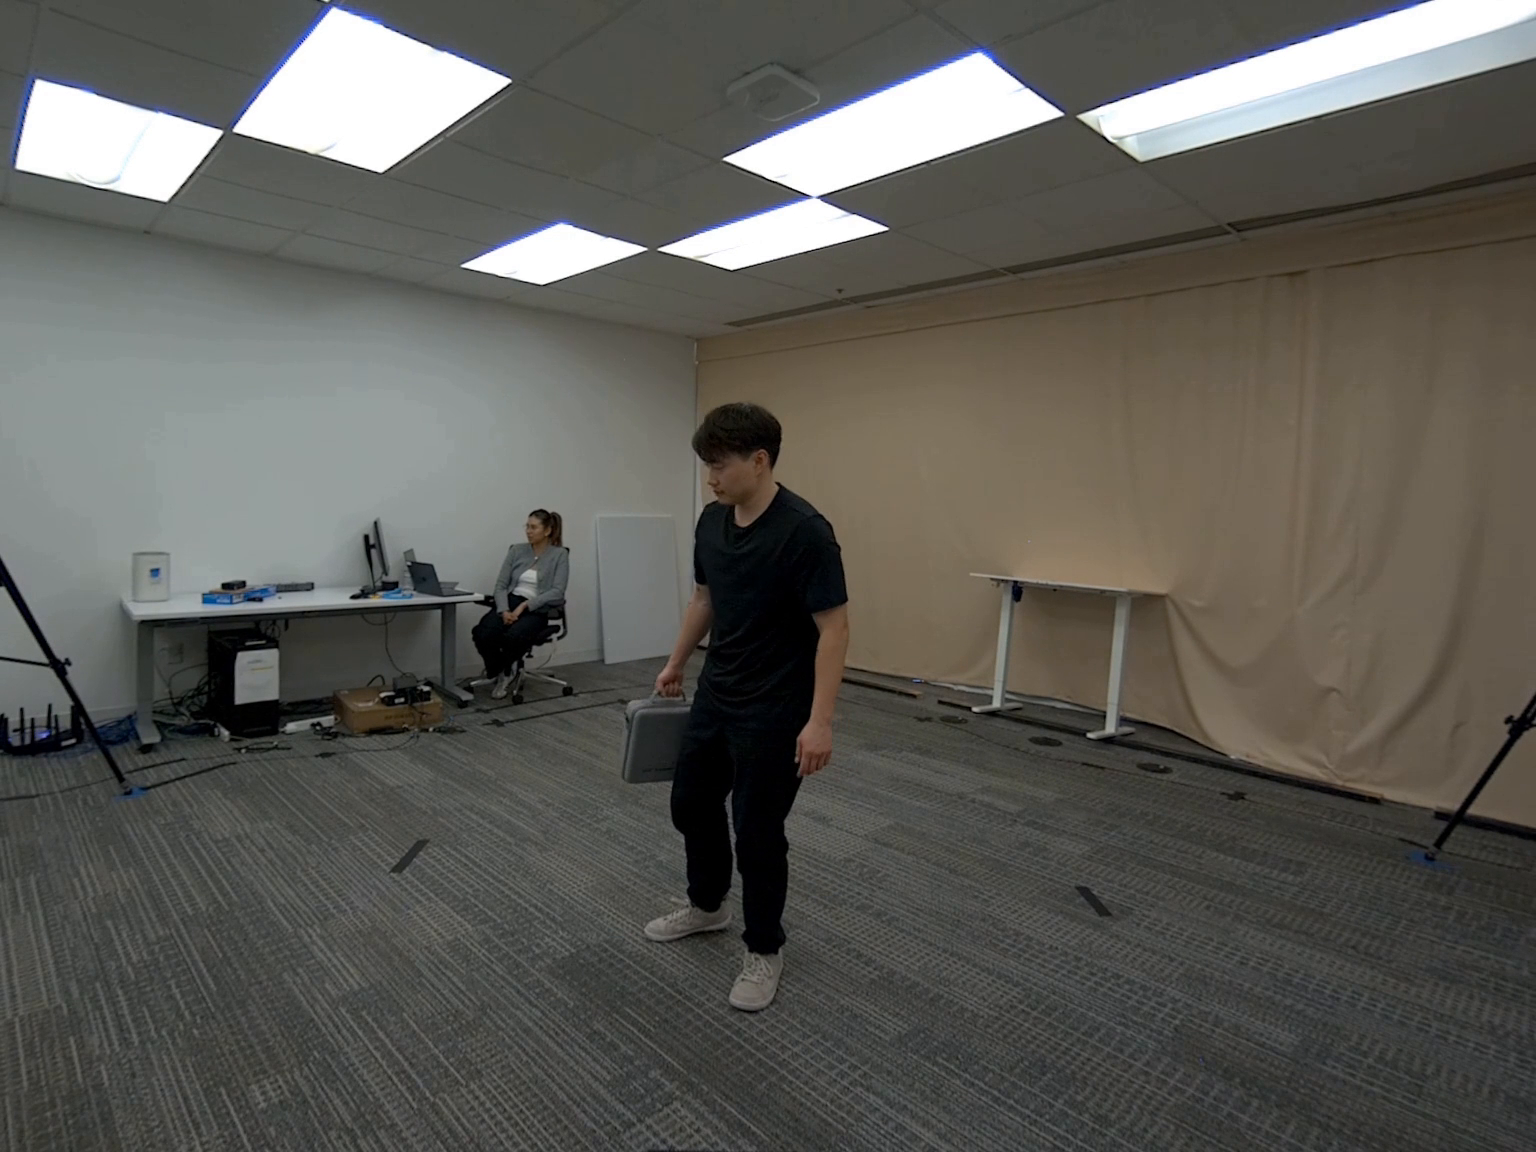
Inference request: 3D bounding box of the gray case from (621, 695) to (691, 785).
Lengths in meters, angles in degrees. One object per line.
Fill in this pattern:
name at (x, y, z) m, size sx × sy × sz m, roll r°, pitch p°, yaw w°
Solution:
gray case at (-0.329, 0.514, 2.634) m, size 0.252 × 0.259 × 0.107 m, roll 3°, pitch 12°, yaw -25°
